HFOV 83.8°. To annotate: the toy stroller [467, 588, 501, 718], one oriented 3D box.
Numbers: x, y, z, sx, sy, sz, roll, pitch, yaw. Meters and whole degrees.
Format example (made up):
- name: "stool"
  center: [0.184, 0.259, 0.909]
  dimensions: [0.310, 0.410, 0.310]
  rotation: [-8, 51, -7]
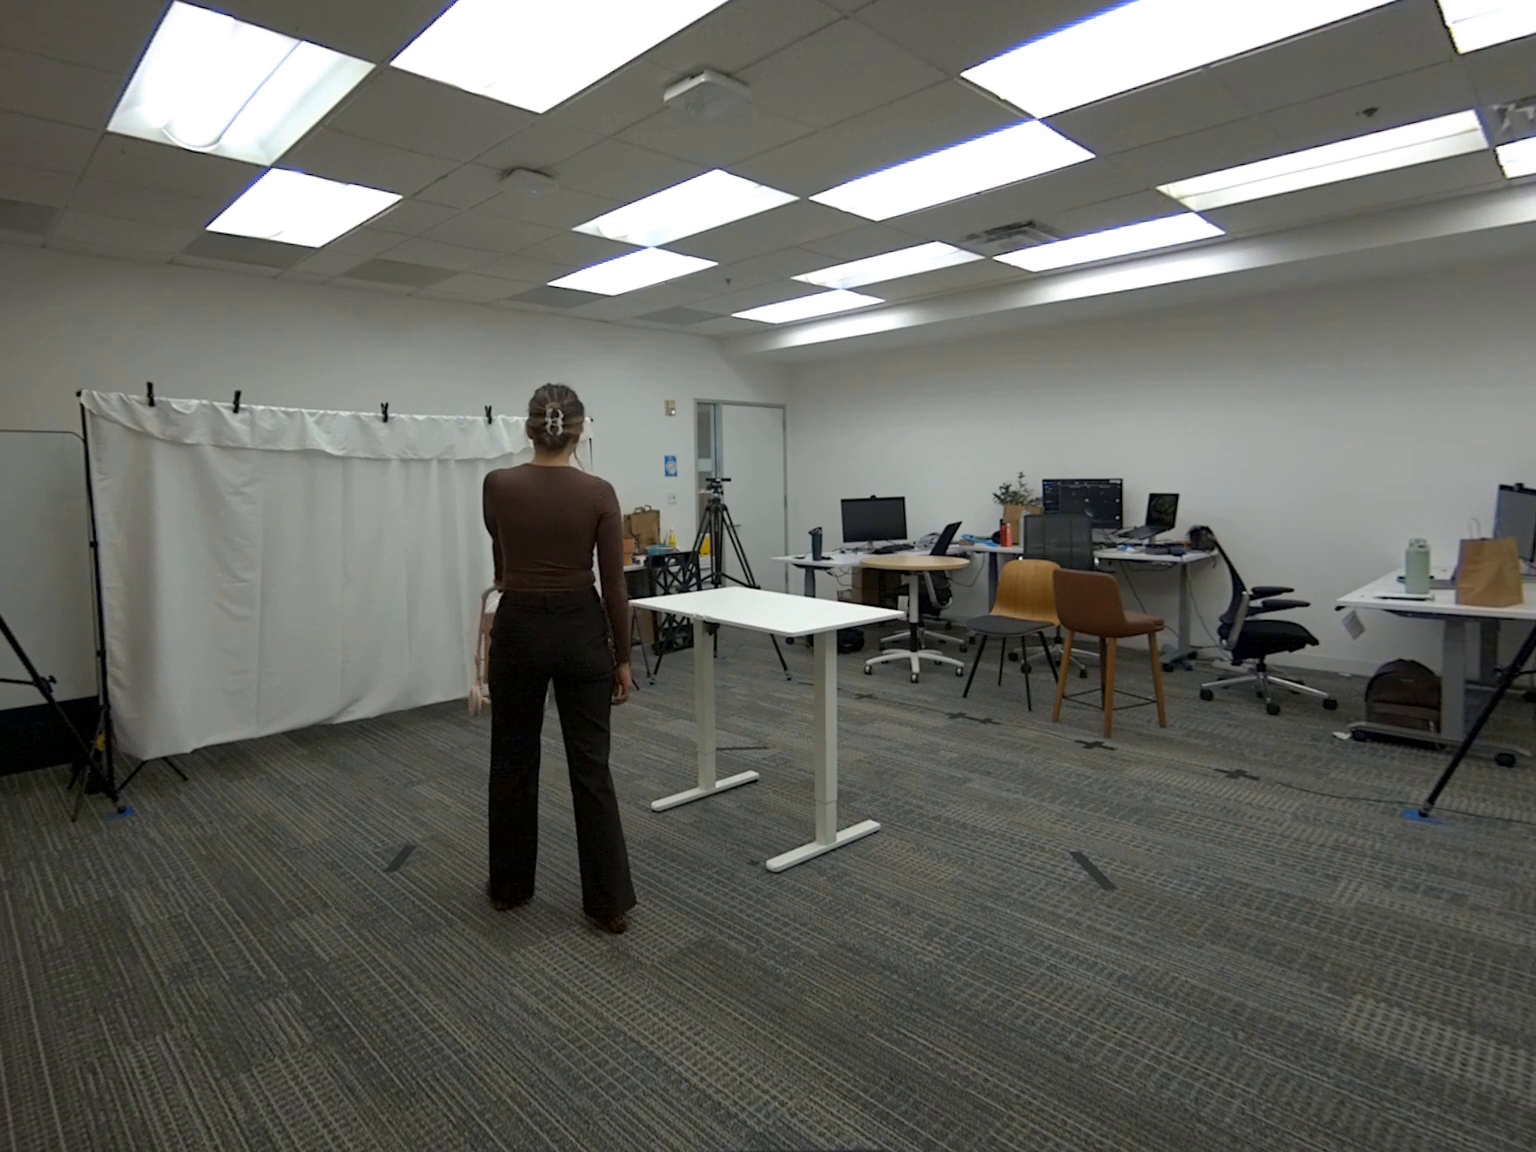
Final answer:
- name: "toy stroller"
  center: [-1.001, 0.306, 3.285]
  dimensions: [0.276, 0.537, 0.346]
  rotation: [0, -5, -21]
